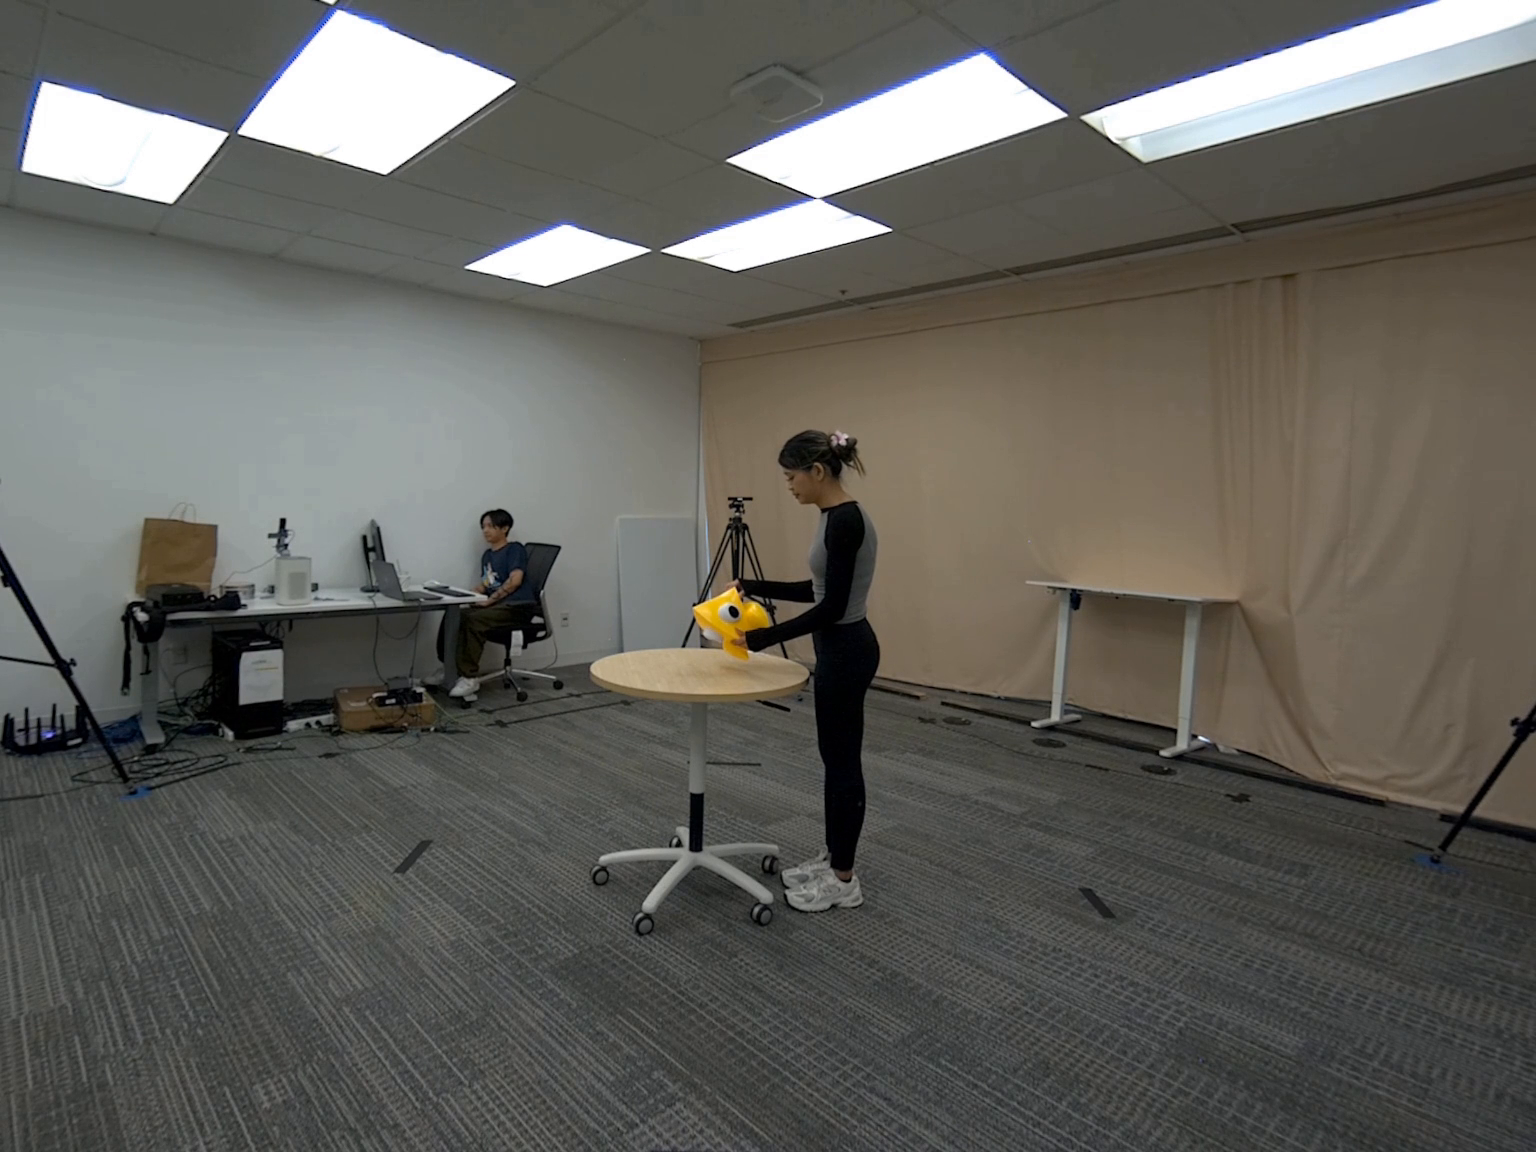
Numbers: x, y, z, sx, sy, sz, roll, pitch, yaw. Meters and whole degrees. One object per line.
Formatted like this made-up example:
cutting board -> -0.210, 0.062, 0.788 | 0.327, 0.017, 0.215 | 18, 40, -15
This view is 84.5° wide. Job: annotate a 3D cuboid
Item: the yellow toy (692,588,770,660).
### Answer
yellow toy -> -0.156, 0.166, 2.923 | 0.224, 0.204, 0.199 | 17, 26, -47
